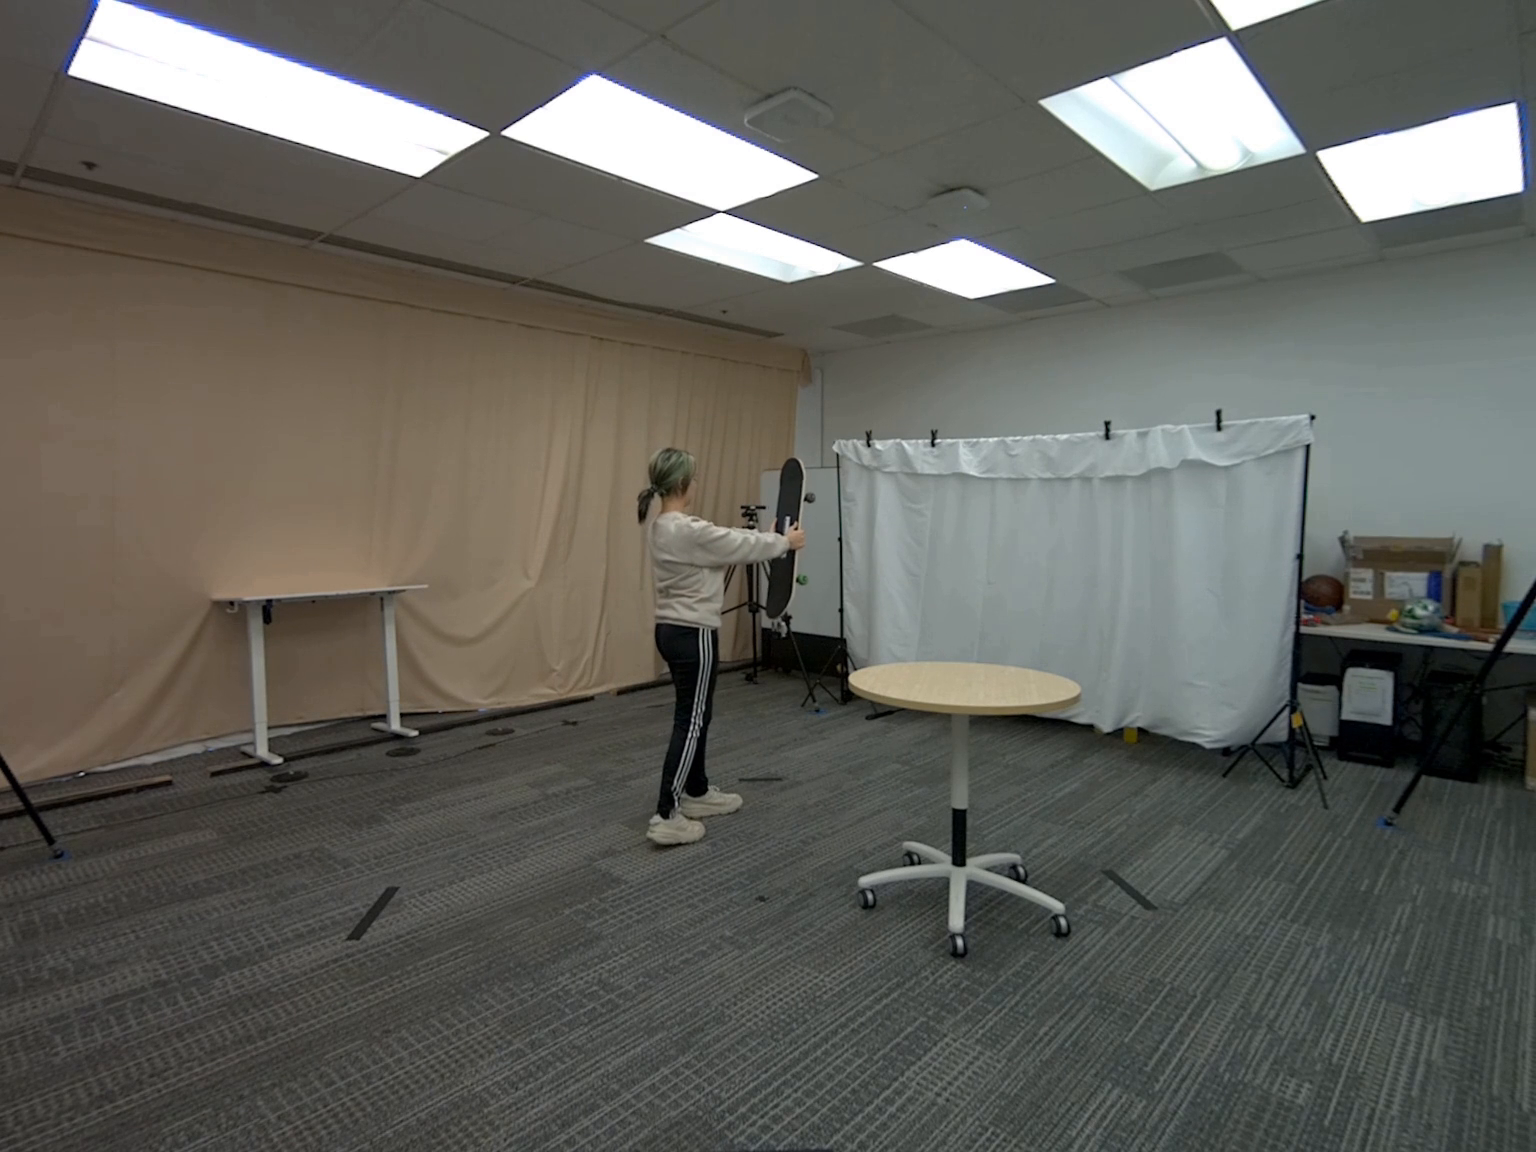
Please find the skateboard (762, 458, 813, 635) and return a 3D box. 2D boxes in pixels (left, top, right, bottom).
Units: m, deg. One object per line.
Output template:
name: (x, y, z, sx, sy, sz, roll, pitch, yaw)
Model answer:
skateboard: (0.108, -0.170, 3.918, 0.107, 0.792, 0.198, 17, -20, -31)
